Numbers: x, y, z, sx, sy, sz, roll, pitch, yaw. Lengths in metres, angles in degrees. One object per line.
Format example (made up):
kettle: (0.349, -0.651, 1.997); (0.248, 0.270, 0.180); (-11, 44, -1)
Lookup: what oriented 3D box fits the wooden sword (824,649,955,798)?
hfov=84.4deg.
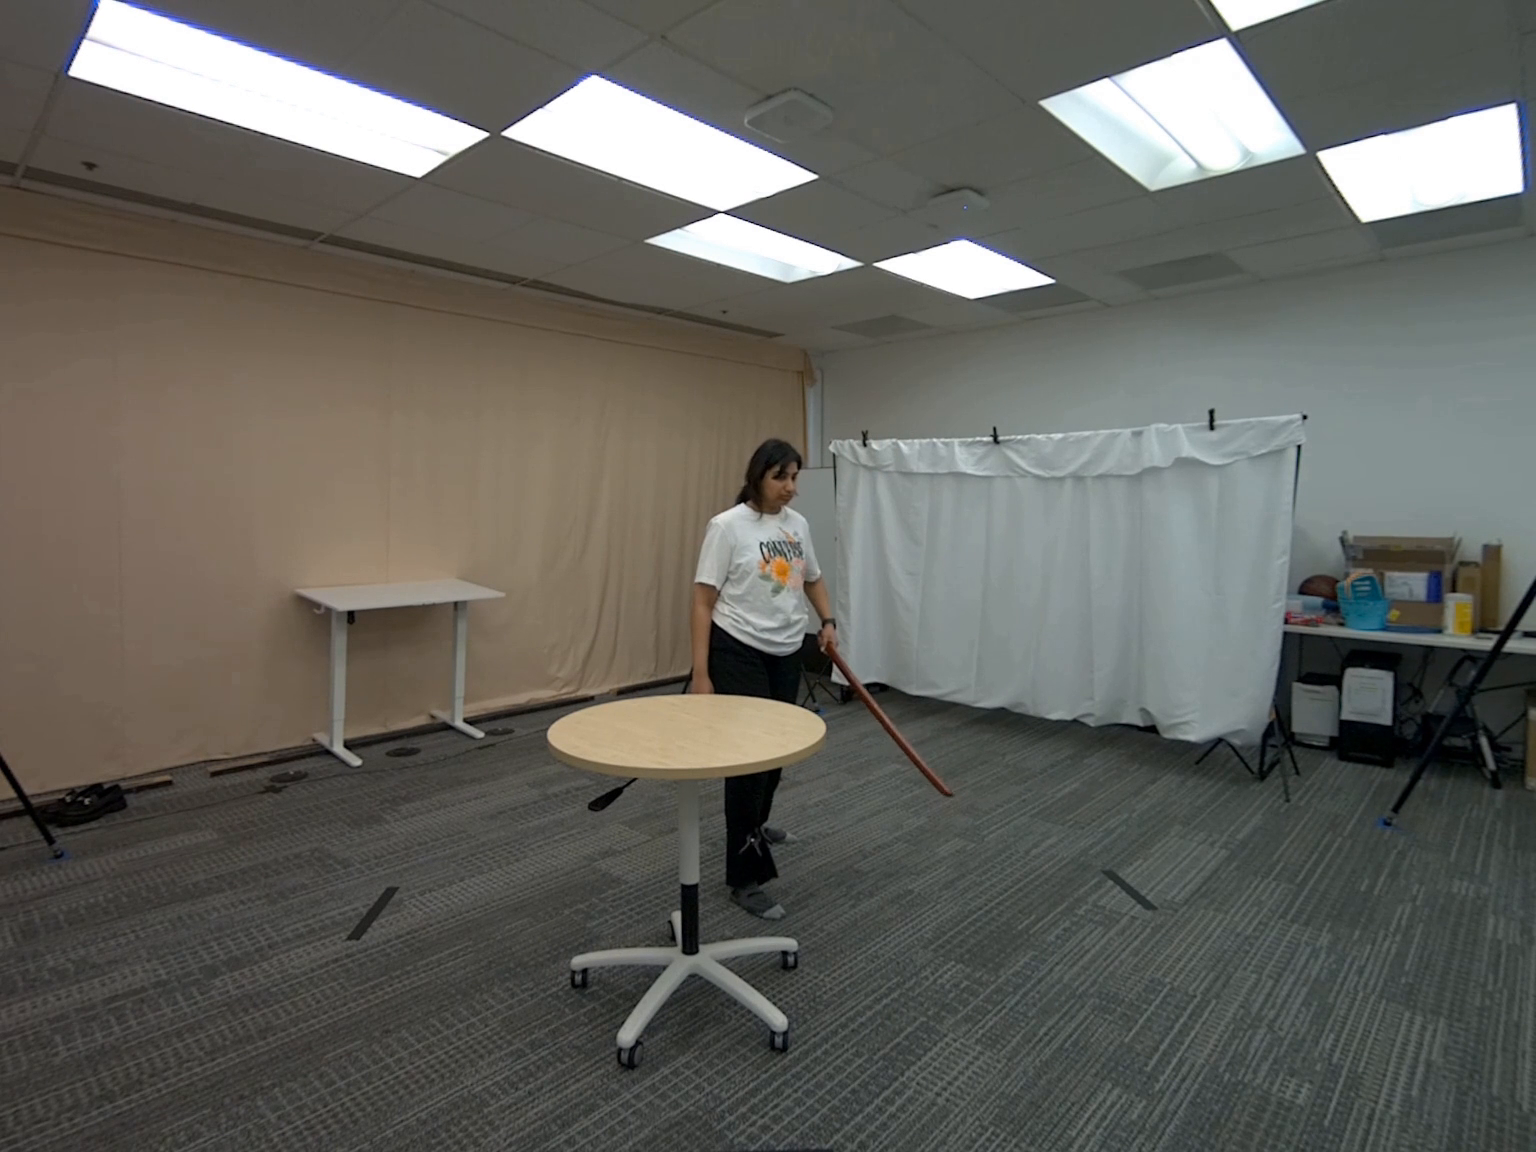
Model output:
wooden sword: (0.388, 0.427, 2.906); (0.050, 0.024, 1.054); (9, 19, -23)
